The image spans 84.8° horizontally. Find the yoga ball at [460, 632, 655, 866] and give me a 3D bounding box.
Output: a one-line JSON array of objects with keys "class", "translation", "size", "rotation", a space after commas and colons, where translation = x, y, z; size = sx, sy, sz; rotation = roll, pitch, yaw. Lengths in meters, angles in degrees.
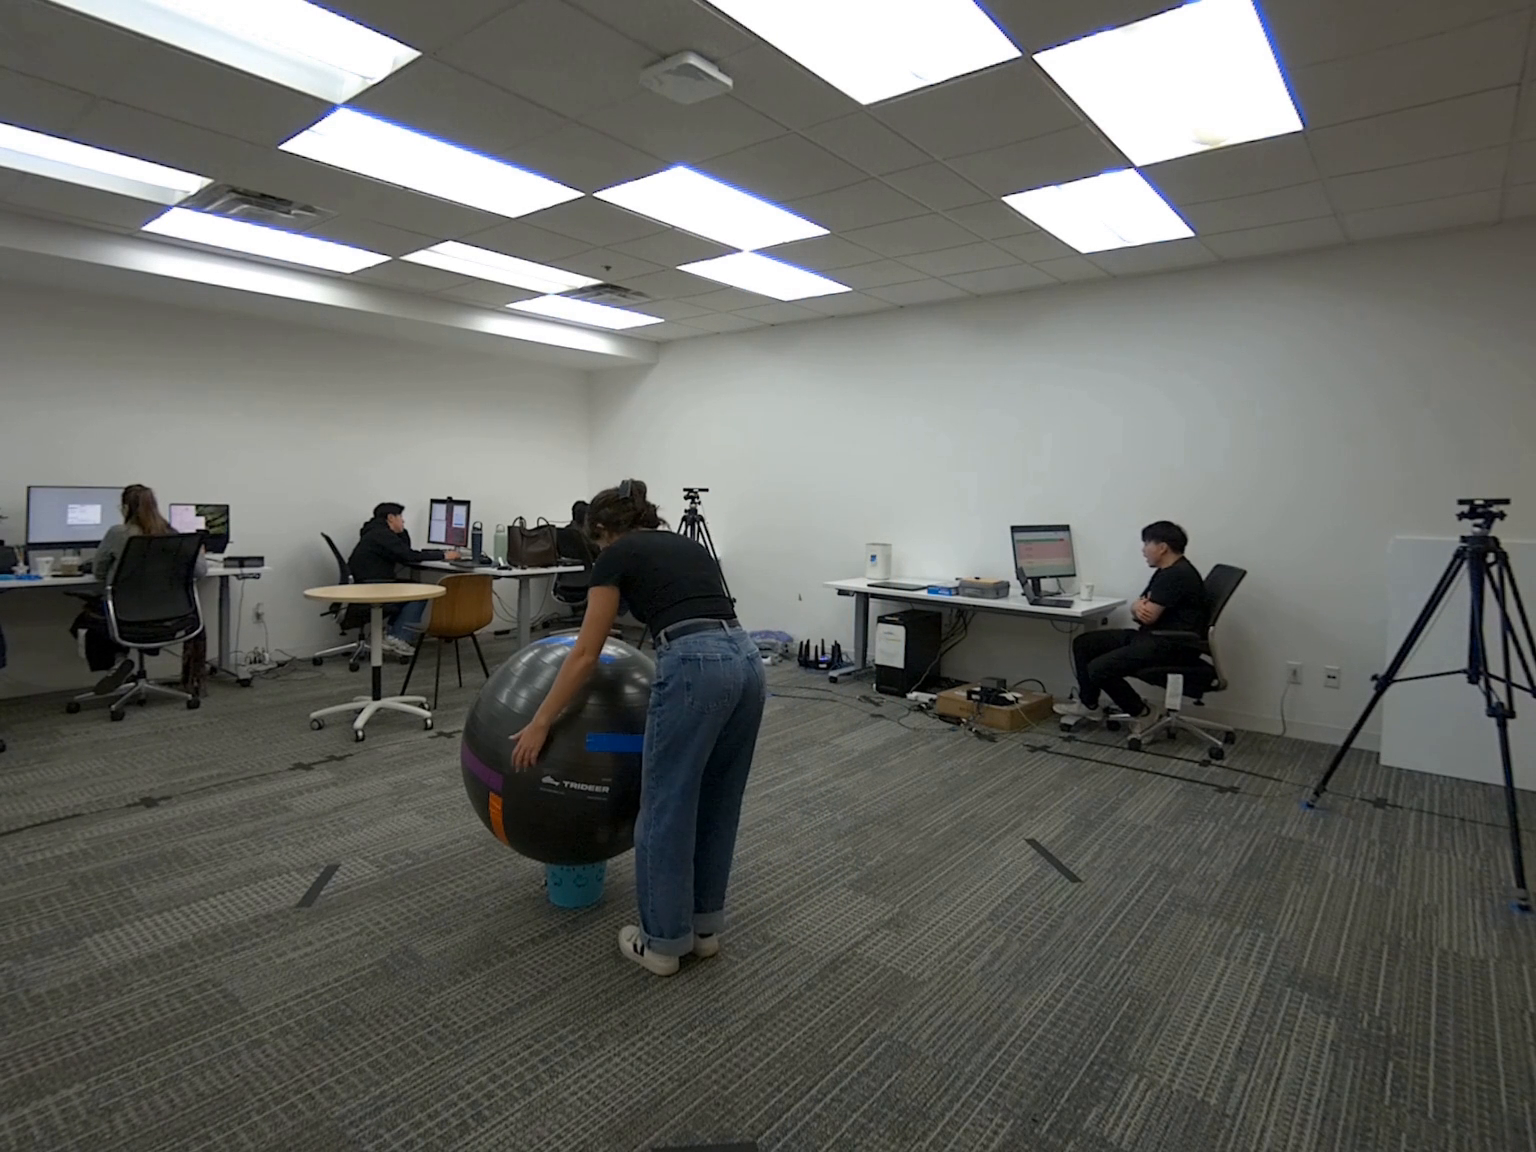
[{"class": "yoga ball", "translation": [-0.652, 0.575, 2.865], "size": [0.757, 0.755, 0.762], "rotation": [1, 4, -2]}]
